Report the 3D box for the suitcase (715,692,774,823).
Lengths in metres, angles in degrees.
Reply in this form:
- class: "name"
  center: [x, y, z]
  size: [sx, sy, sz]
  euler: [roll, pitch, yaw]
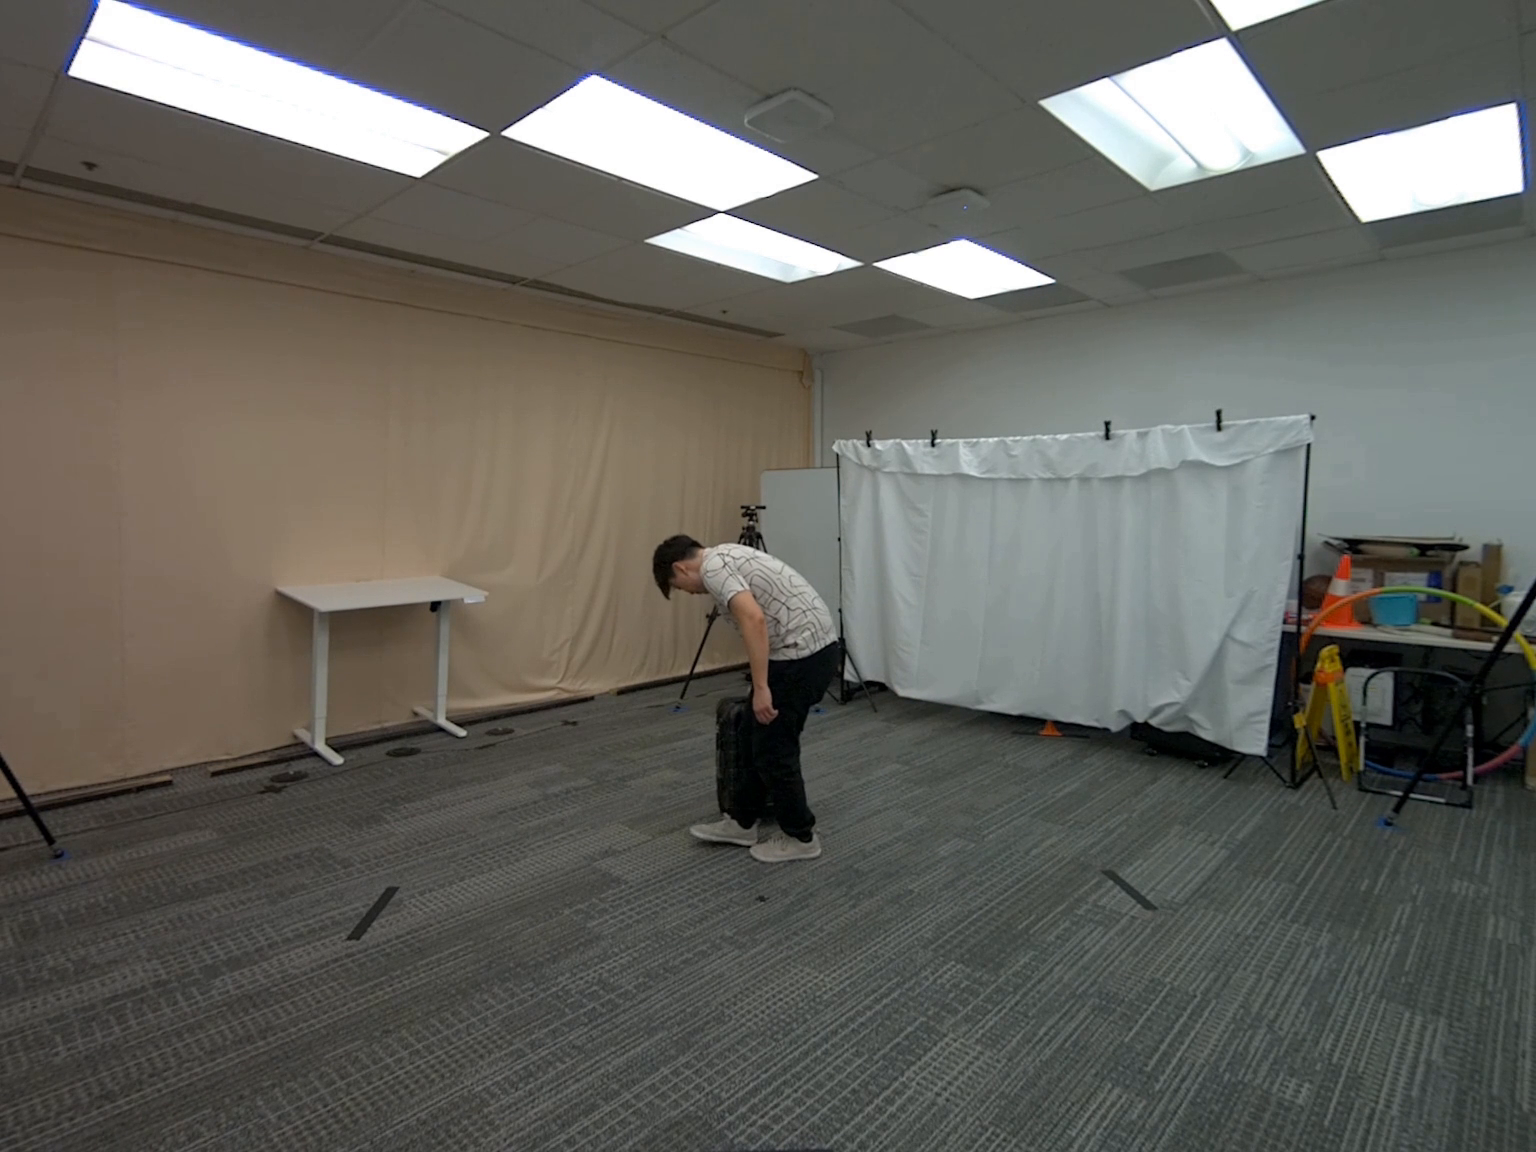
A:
- class: "suitcase"
  center: [-0.045, 0.804, 3.742]
  size: [0.369, 0.548, 0.253]
  euler: [-2, 3, -16]
